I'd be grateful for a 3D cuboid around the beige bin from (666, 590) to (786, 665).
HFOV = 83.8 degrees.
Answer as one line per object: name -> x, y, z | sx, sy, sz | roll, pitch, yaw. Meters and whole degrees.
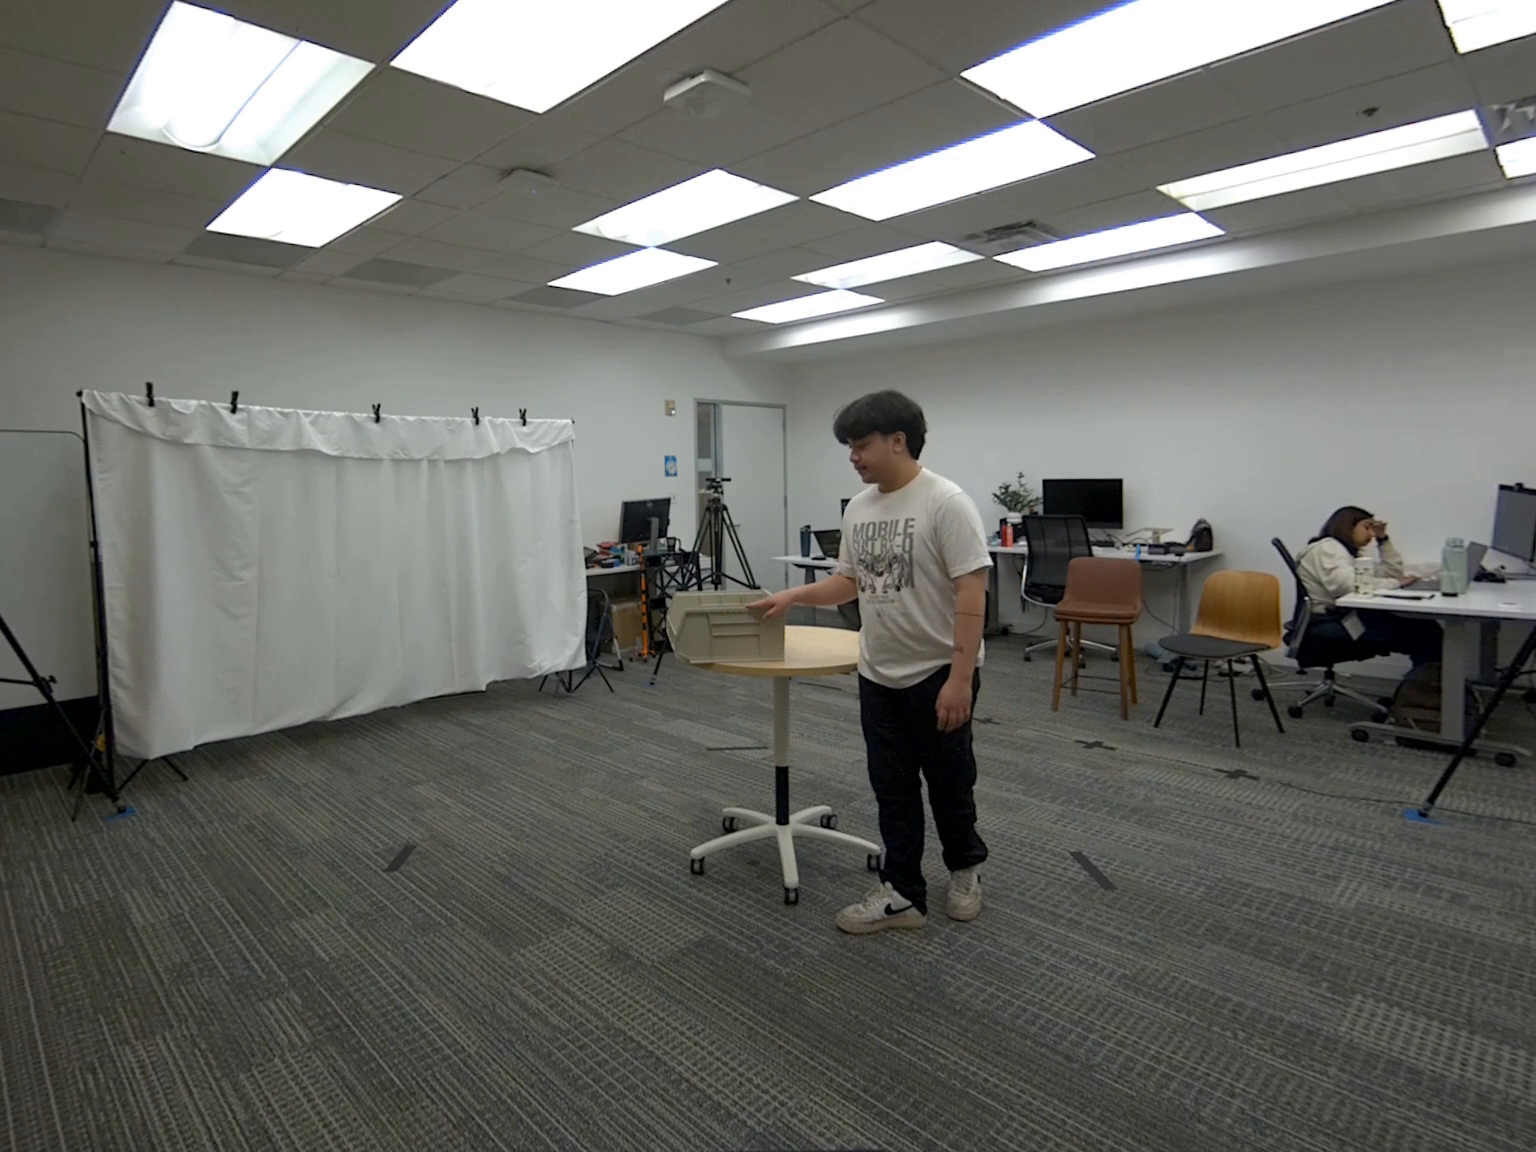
beige bin -> -0.152, 0.169, 2.977 | 0.374, 0.188, 0.428 | -1, 6, -11
